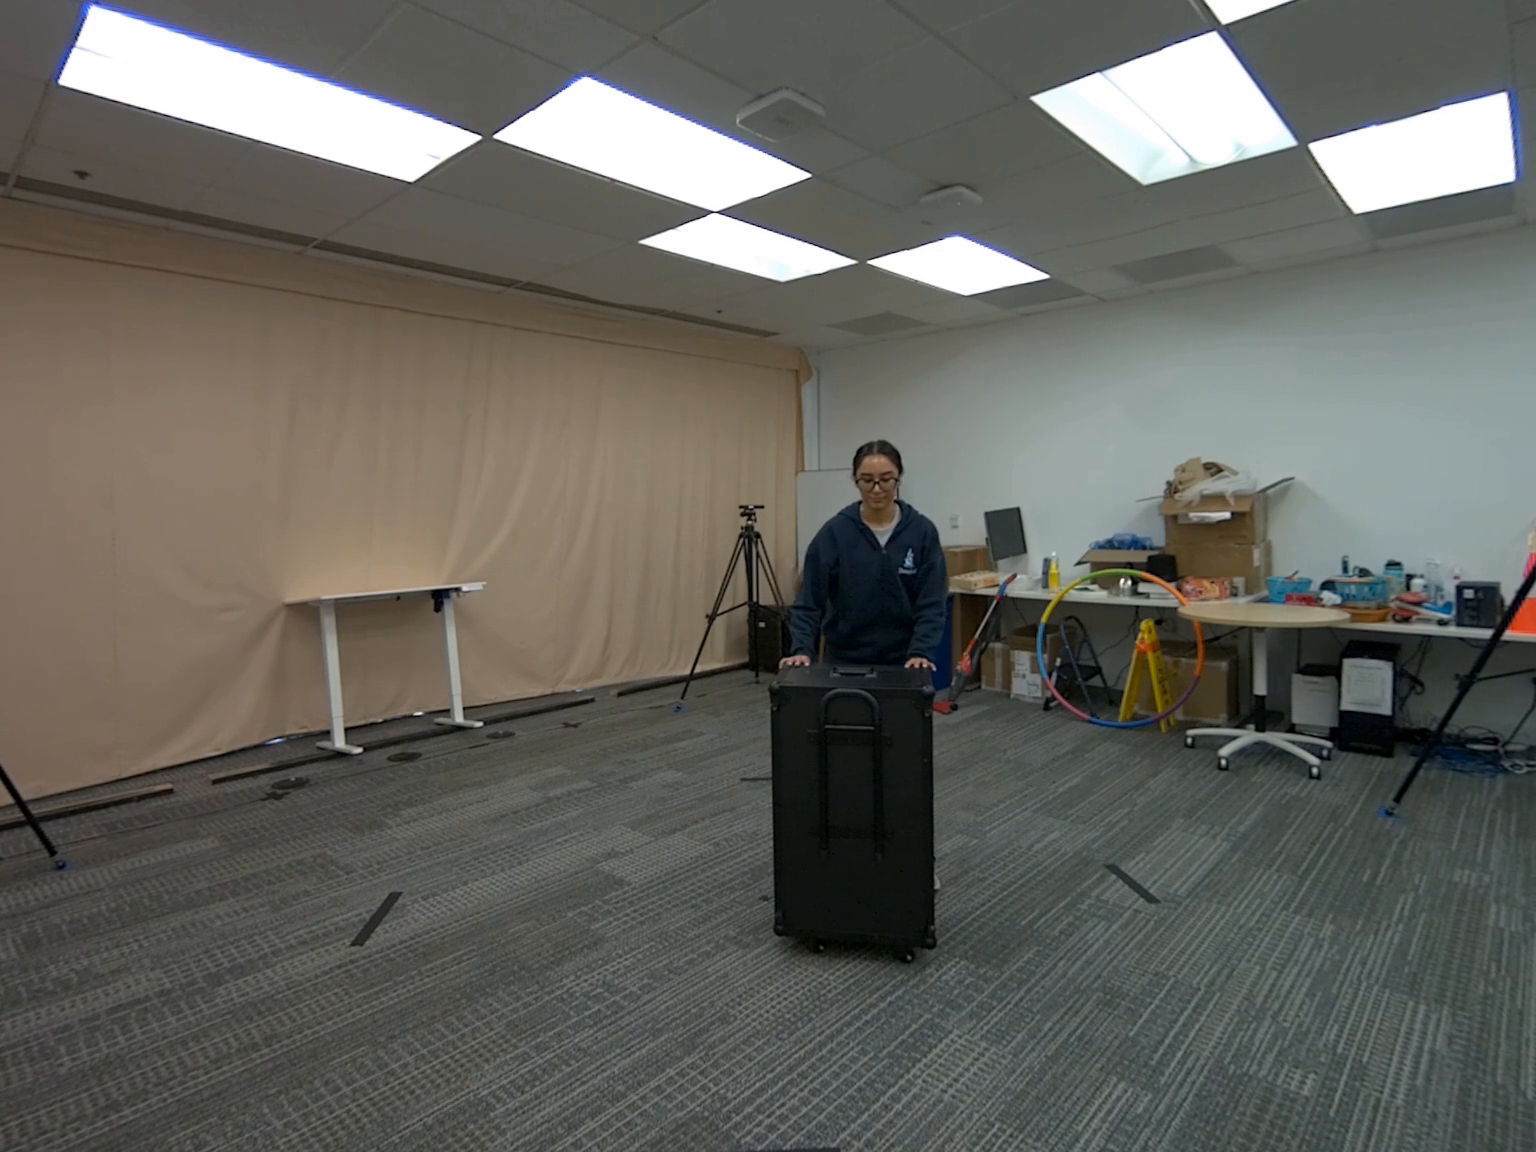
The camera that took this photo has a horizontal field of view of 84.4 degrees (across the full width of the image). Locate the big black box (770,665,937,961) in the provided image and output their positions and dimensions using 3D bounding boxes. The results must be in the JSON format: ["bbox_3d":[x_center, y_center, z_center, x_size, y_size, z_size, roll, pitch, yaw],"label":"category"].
[{"bbox_3d":[0.278,0.743,2.675,0.528,0.859,0.392,0,4,12],"label":"big black box"}]
